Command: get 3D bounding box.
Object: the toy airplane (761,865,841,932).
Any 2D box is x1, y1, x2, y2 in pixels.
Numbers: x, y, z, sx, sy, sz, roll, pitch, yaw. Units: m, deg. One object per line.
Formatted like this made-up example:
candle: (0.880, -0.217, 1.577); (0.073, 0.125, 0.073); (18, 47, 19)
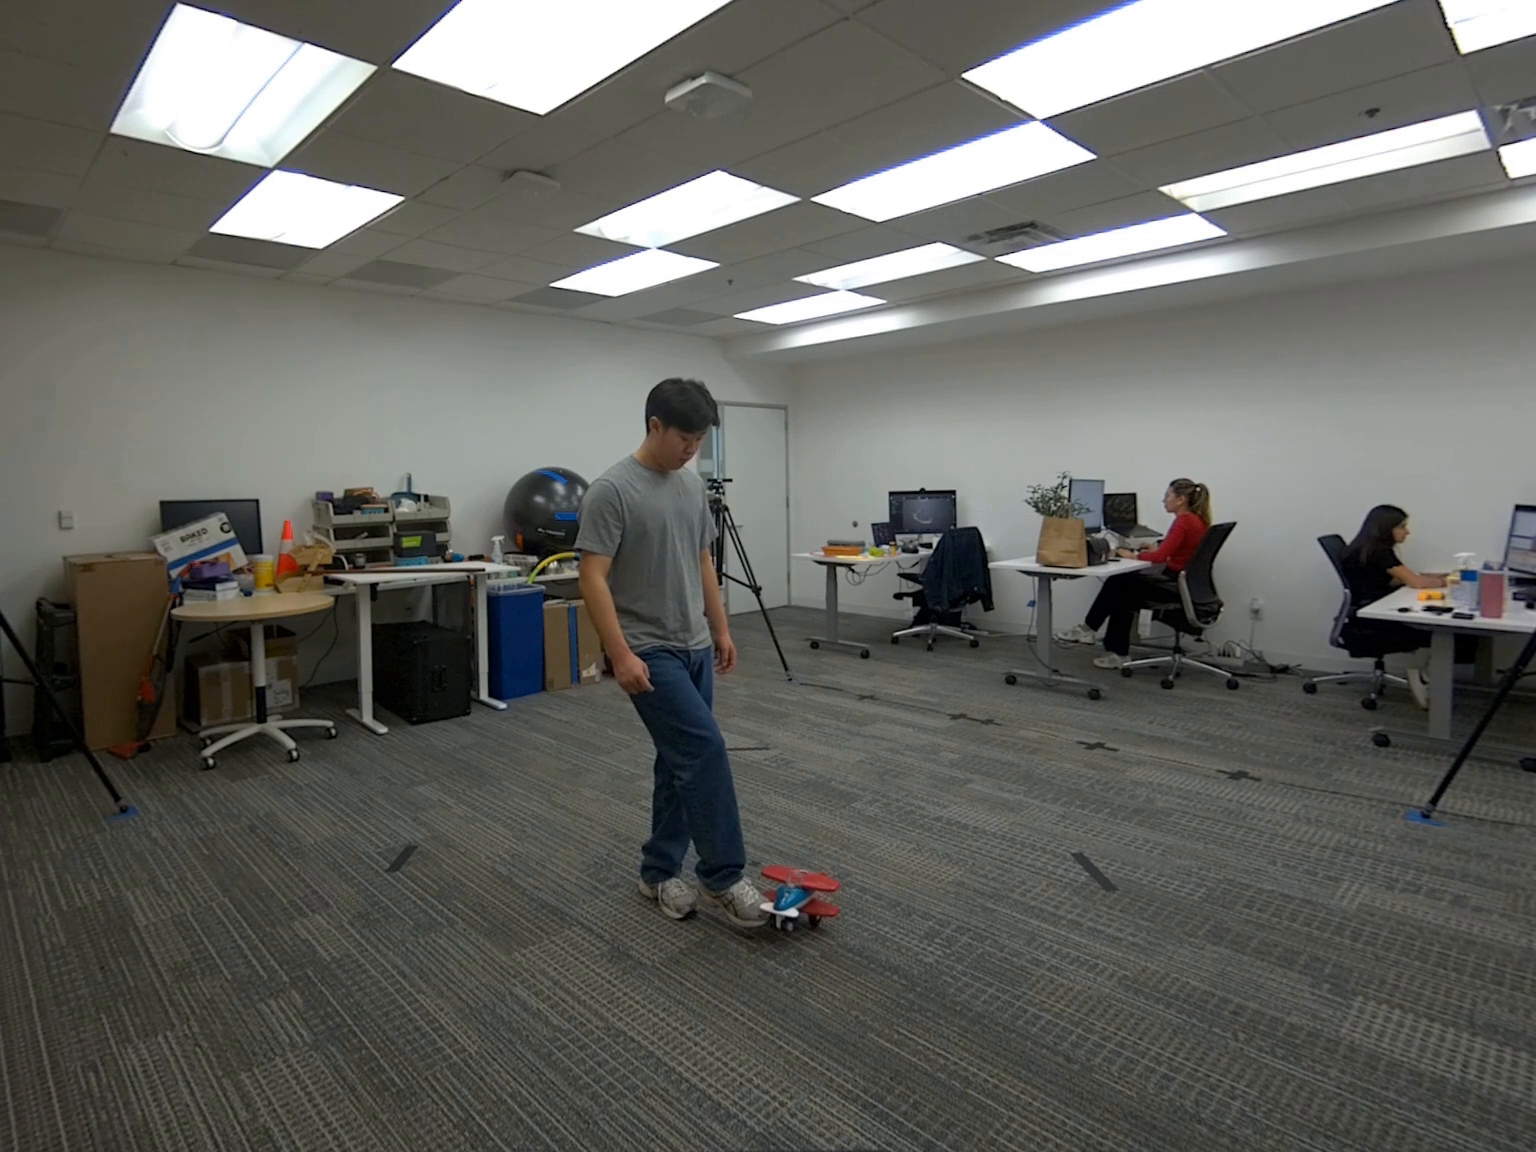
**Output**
toy airplane: (0.101, 0.998, 2.621); (0.251, 0.158, 0.256); (7, -11, 0)
